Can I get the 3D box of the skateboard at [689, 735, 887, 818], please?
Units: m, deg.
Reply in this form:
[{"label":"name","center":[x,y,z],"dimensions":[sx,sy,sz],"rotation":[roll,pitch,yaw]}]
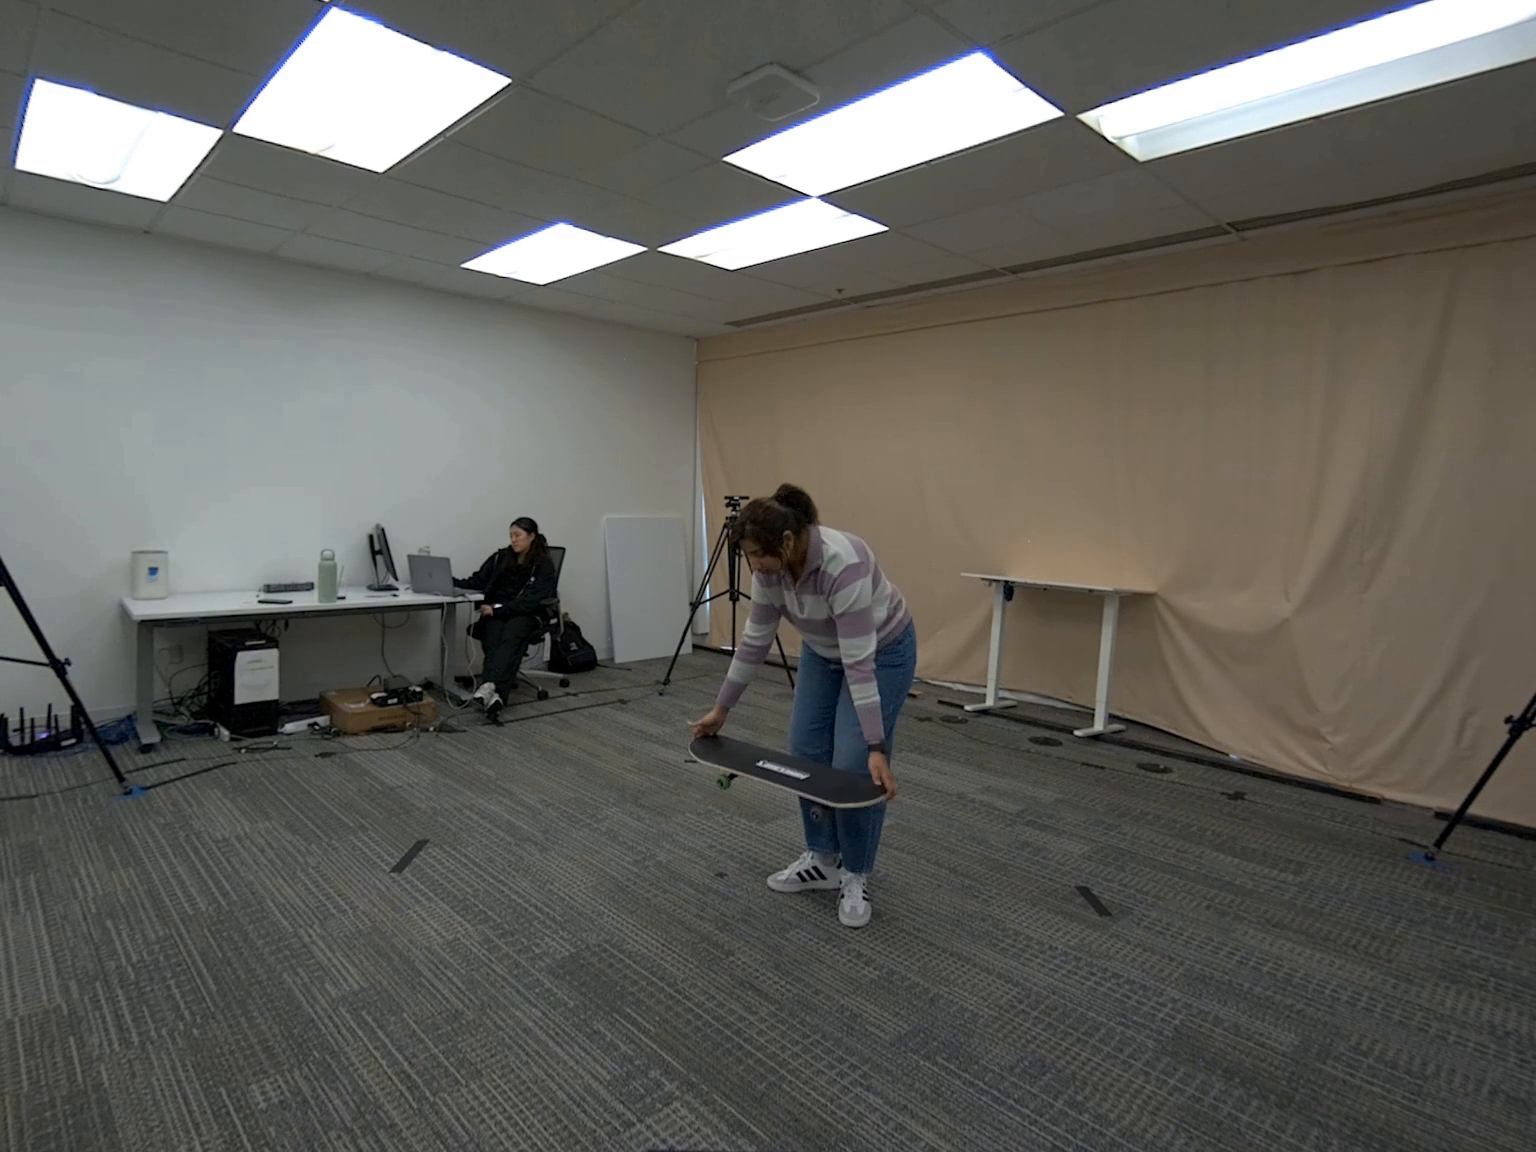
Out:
[{"label":"skateboard","center":[0.040,0.662,2.717],"dimensions":[0.805,0.109,0.190],"rotation":[5,14,43]}]
